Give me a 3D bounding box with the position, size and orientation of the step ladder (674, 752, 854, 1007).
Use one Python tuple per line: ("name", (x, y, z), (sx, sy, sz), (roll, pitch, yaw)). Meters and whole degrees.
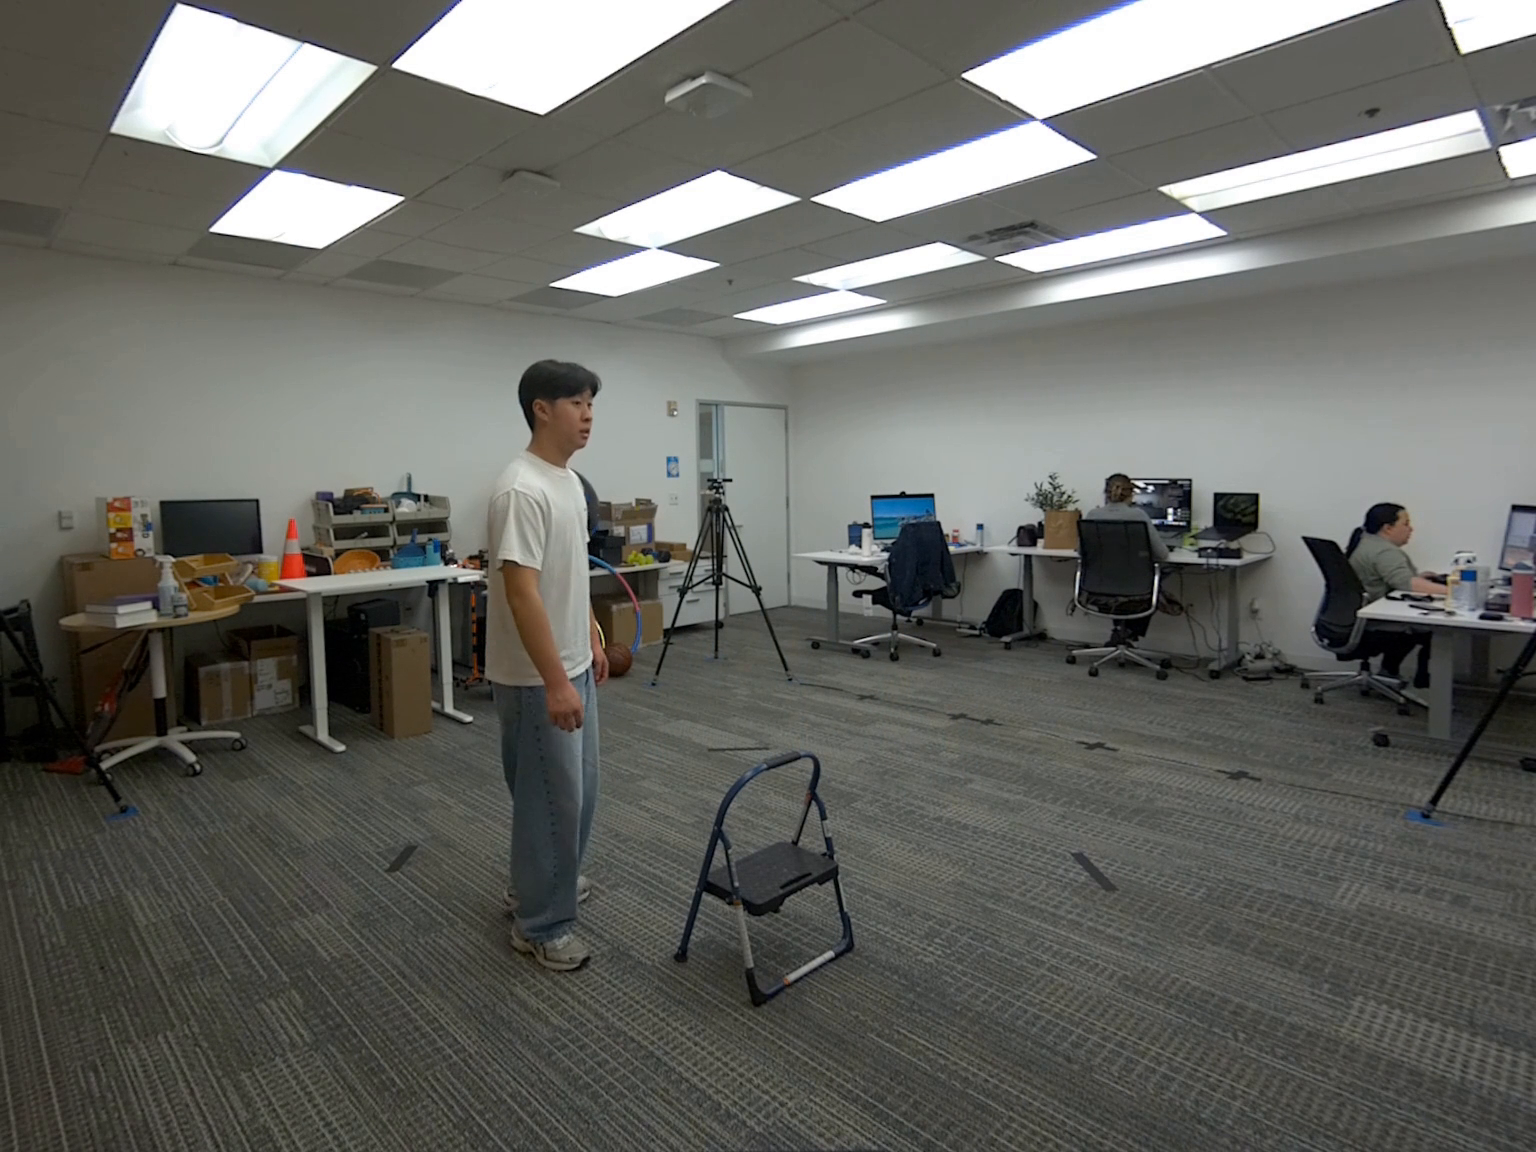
("step ladder", (-0.010, 0.803, 2.505), (0.419, 0.604, 0.360), (-5, 6, -45))
